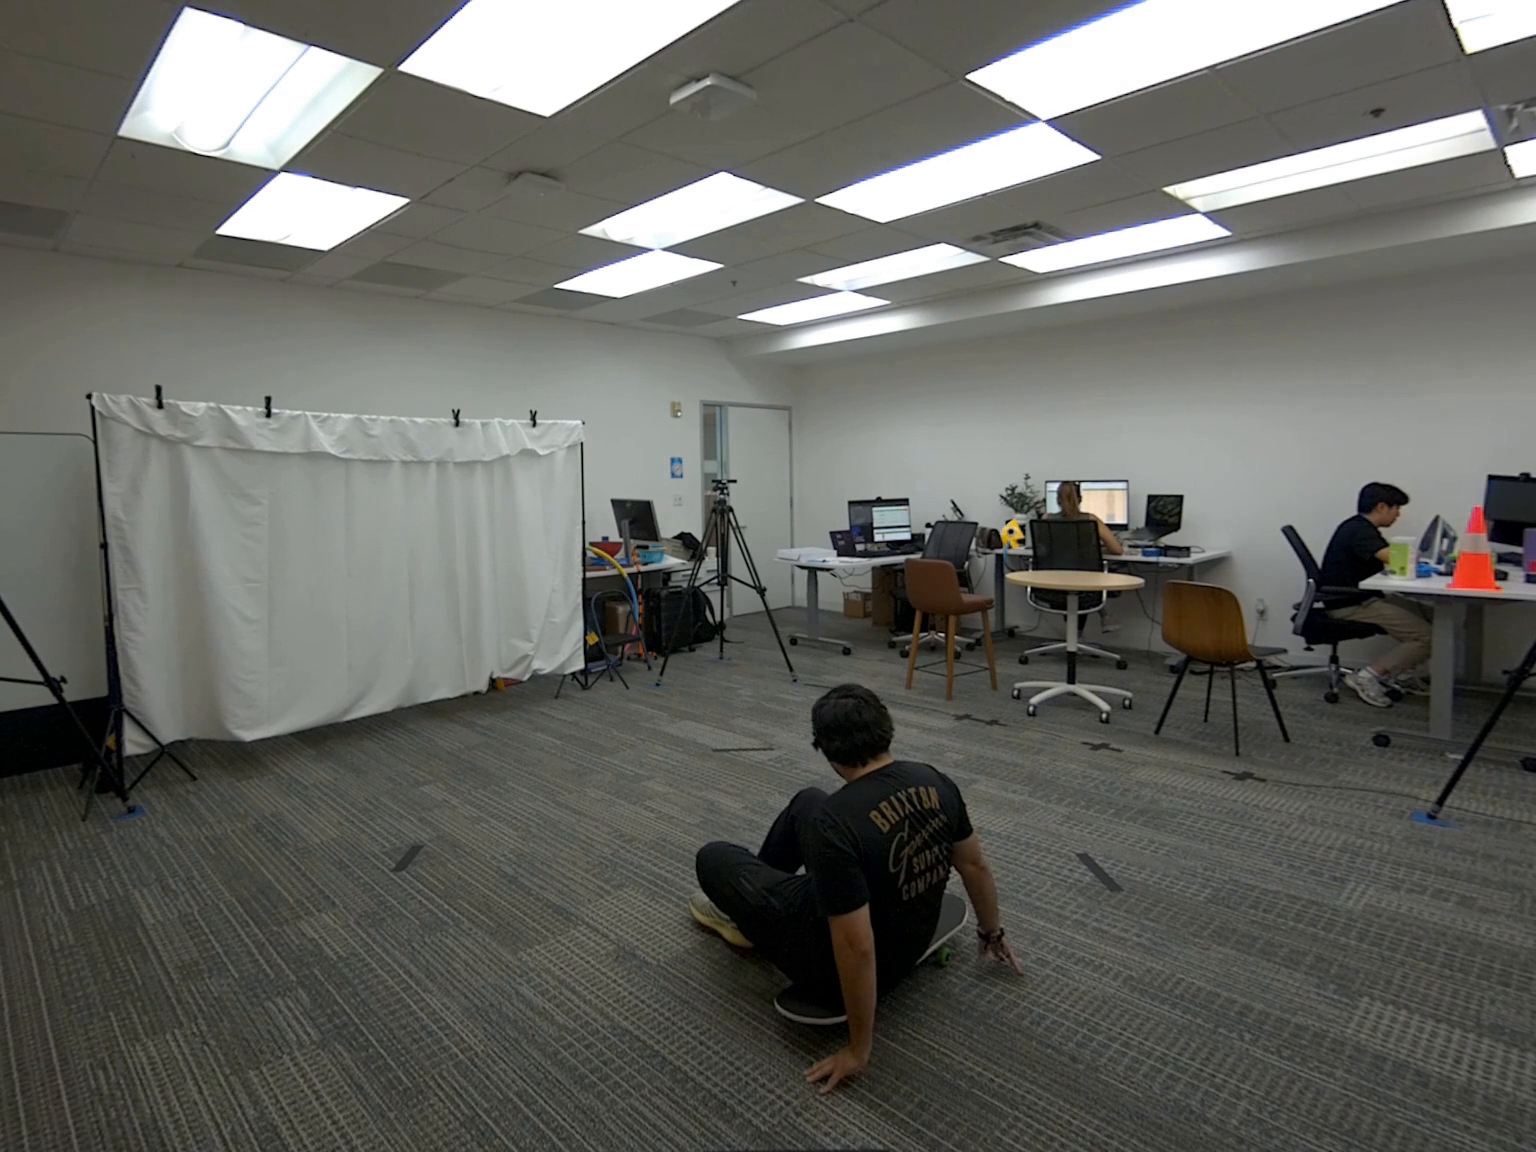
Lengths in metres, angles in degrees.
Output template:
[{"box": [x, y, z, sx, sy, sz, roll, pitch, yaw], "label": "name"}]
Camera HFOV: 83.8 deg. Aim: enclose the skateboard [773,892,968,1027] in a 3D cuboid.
[{"box": [0.311, 1.069, 2.357, 0.765, 0.110, 0.199, -8, 6, -43], "label": "skateboard"}]
